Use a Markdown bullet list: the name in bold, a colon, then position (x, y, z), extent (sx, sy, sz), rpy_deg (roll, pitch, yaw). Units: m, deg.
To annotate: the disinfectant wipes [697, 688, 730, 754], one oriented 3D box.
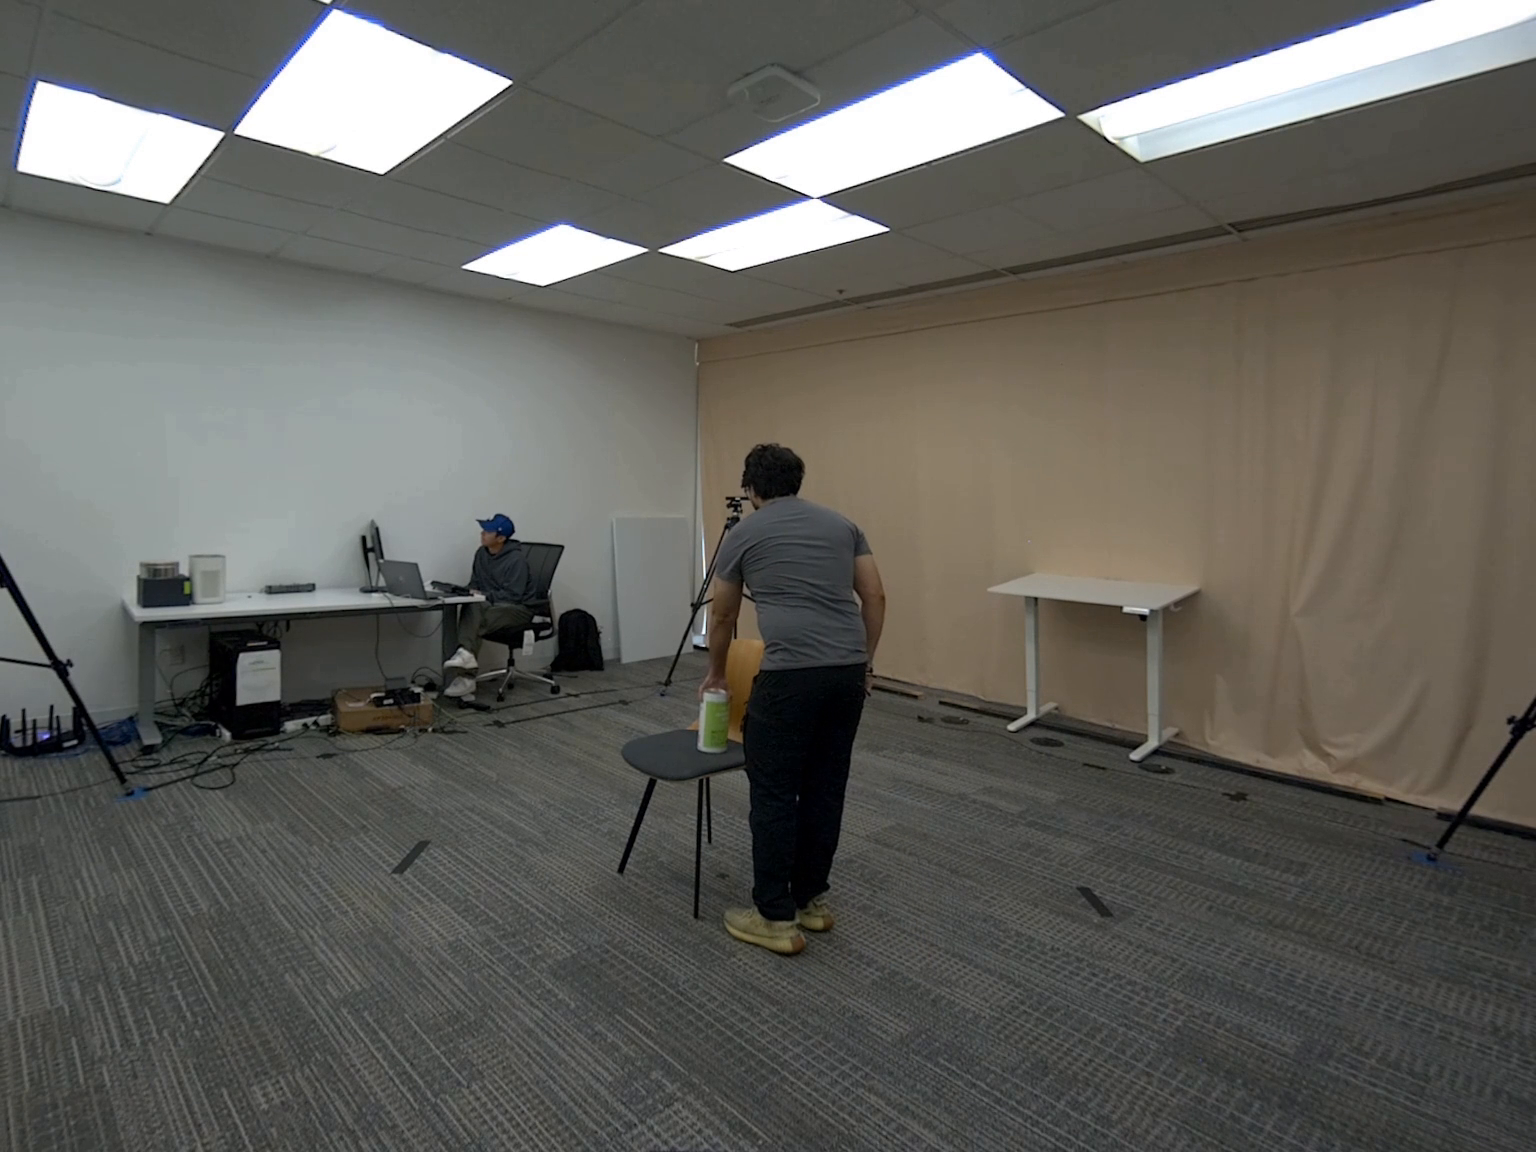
- **disinfectant wipes**: position (-0.206, 0.521, 3.074), extent (0.118, 0.217, 0.118), rpy_deg (4, 4, -2)
